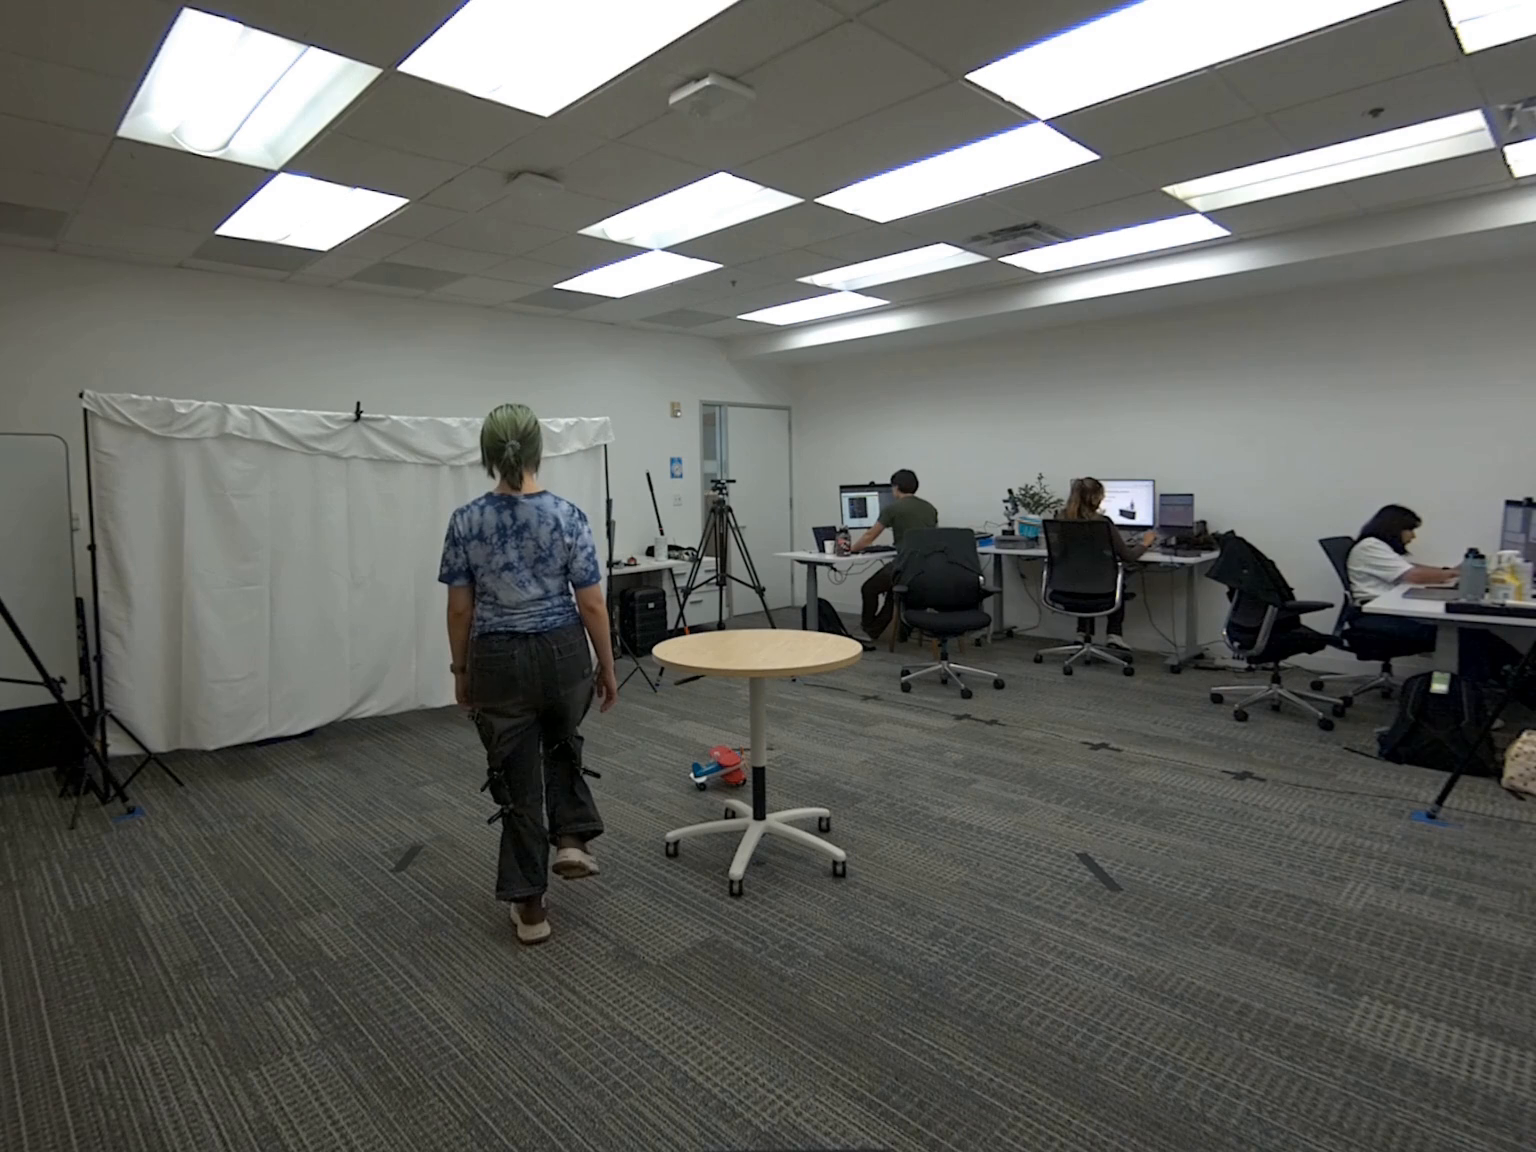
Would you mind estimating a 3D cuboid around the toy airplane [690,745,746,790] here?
[{"bbox_3d":[-0.213,0.889,3.894,0.258,0.156,0.252,2,5,37],"label":"toy airplane"}]
